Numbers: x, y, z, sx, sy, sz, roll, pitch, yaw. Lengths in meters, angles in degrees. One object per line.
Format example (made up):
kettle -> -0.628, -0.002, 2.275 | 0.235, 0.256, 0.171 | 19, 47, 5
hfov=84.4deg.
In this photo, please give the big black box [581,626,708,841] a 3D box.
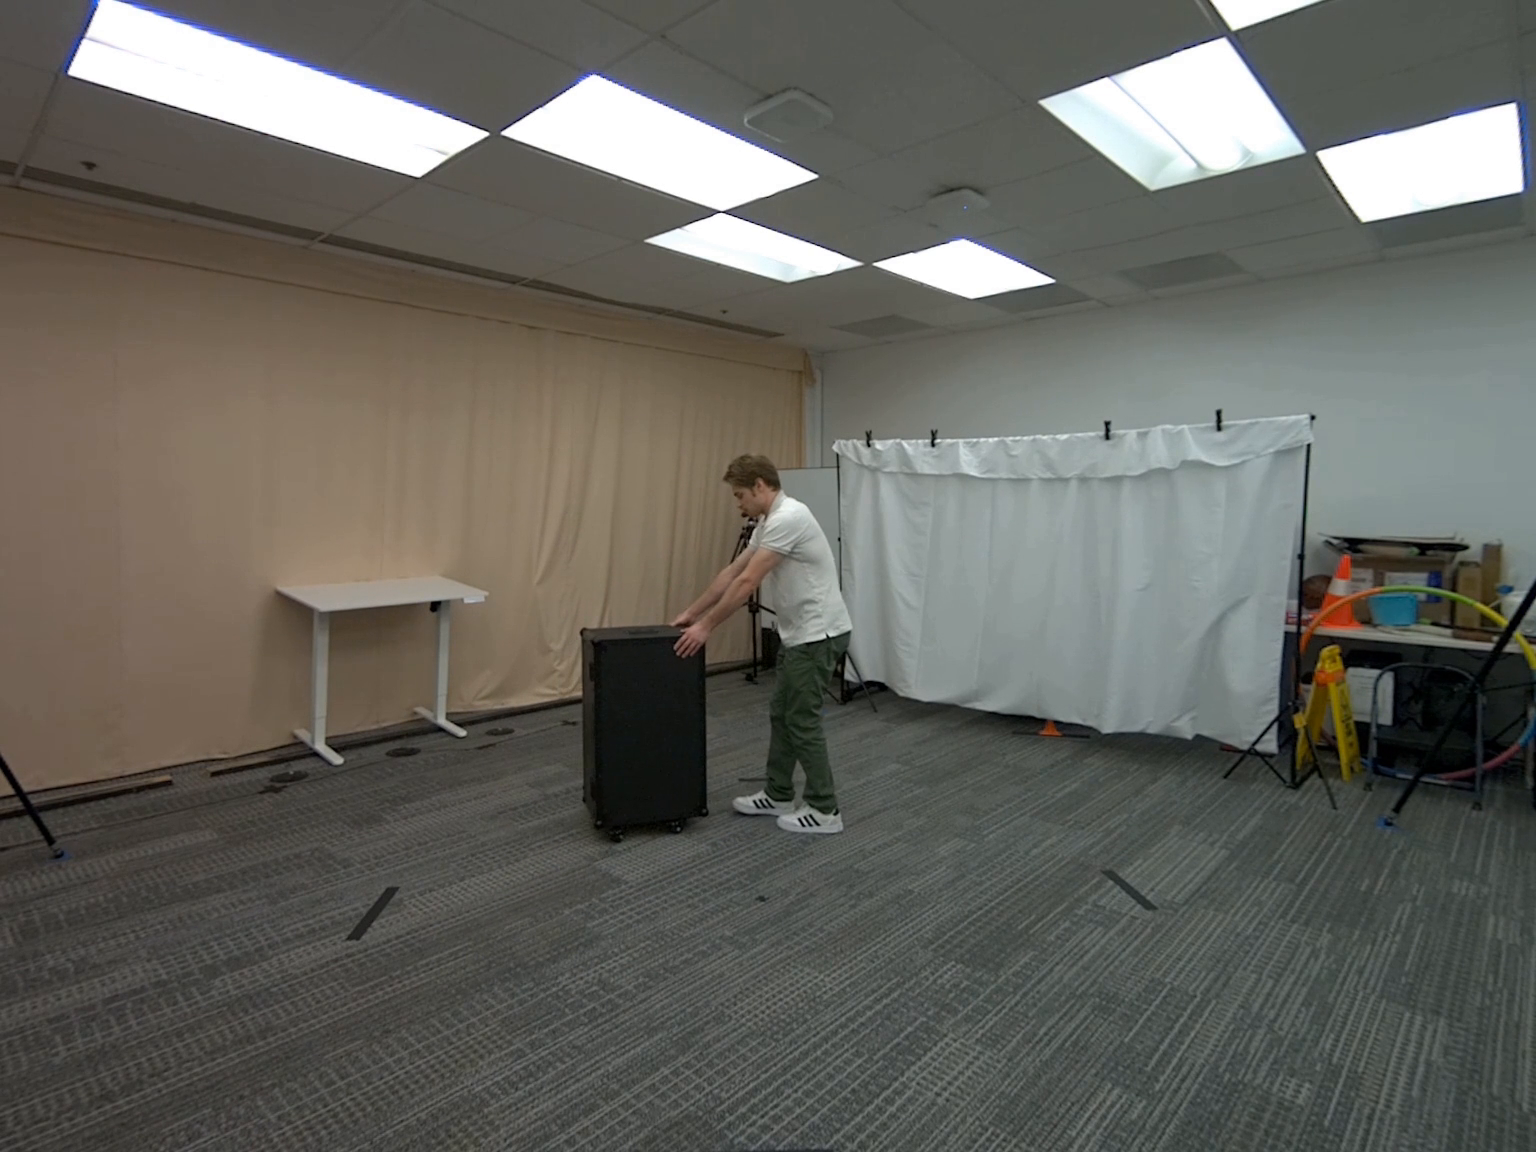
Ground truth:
big black box -> -0.561, 0.671, 3.680 | 0.513, 0.867, 0.393 | -1, 2, -21
